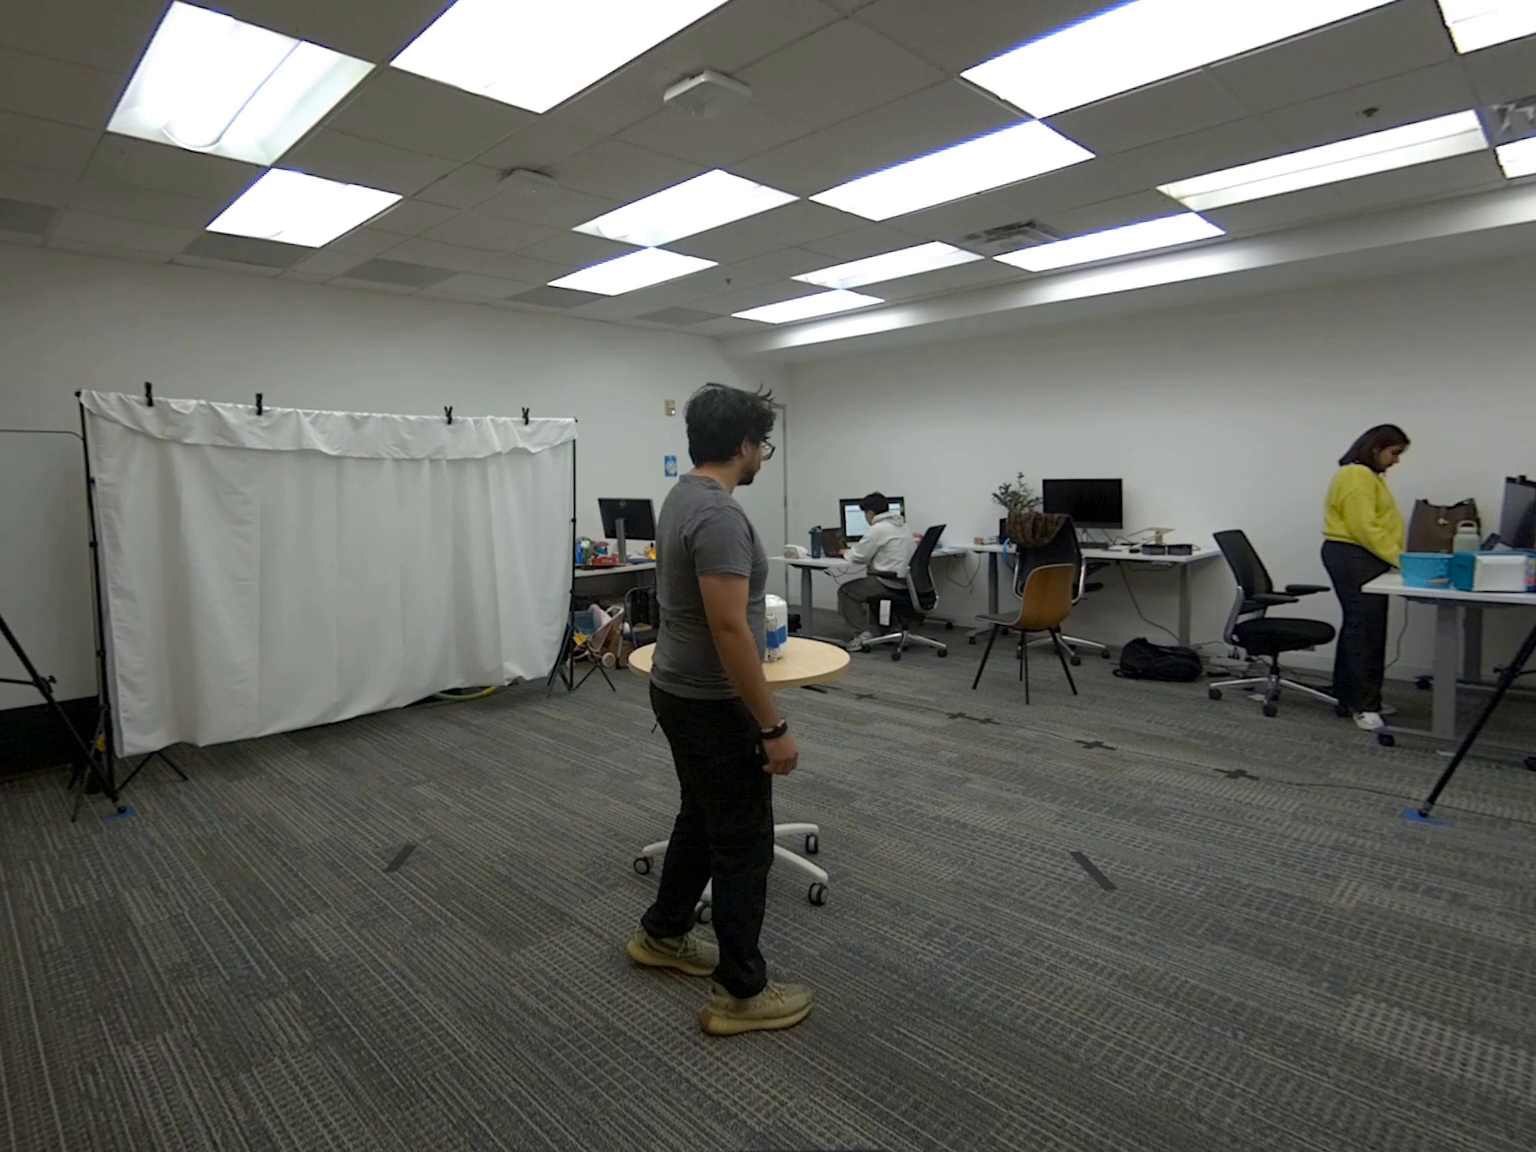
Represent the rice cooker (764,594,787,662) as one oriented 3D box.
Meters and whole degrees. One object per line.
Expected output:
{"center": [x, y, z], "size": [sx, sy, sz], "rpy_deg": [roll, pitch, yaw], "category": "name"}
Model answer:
{"center": [-0.038, 0.163, 2.950], "size": [0.221, 0.232, 0.218], "rpy_deg": [1, 5, 18], "category": "rice cooker"}
